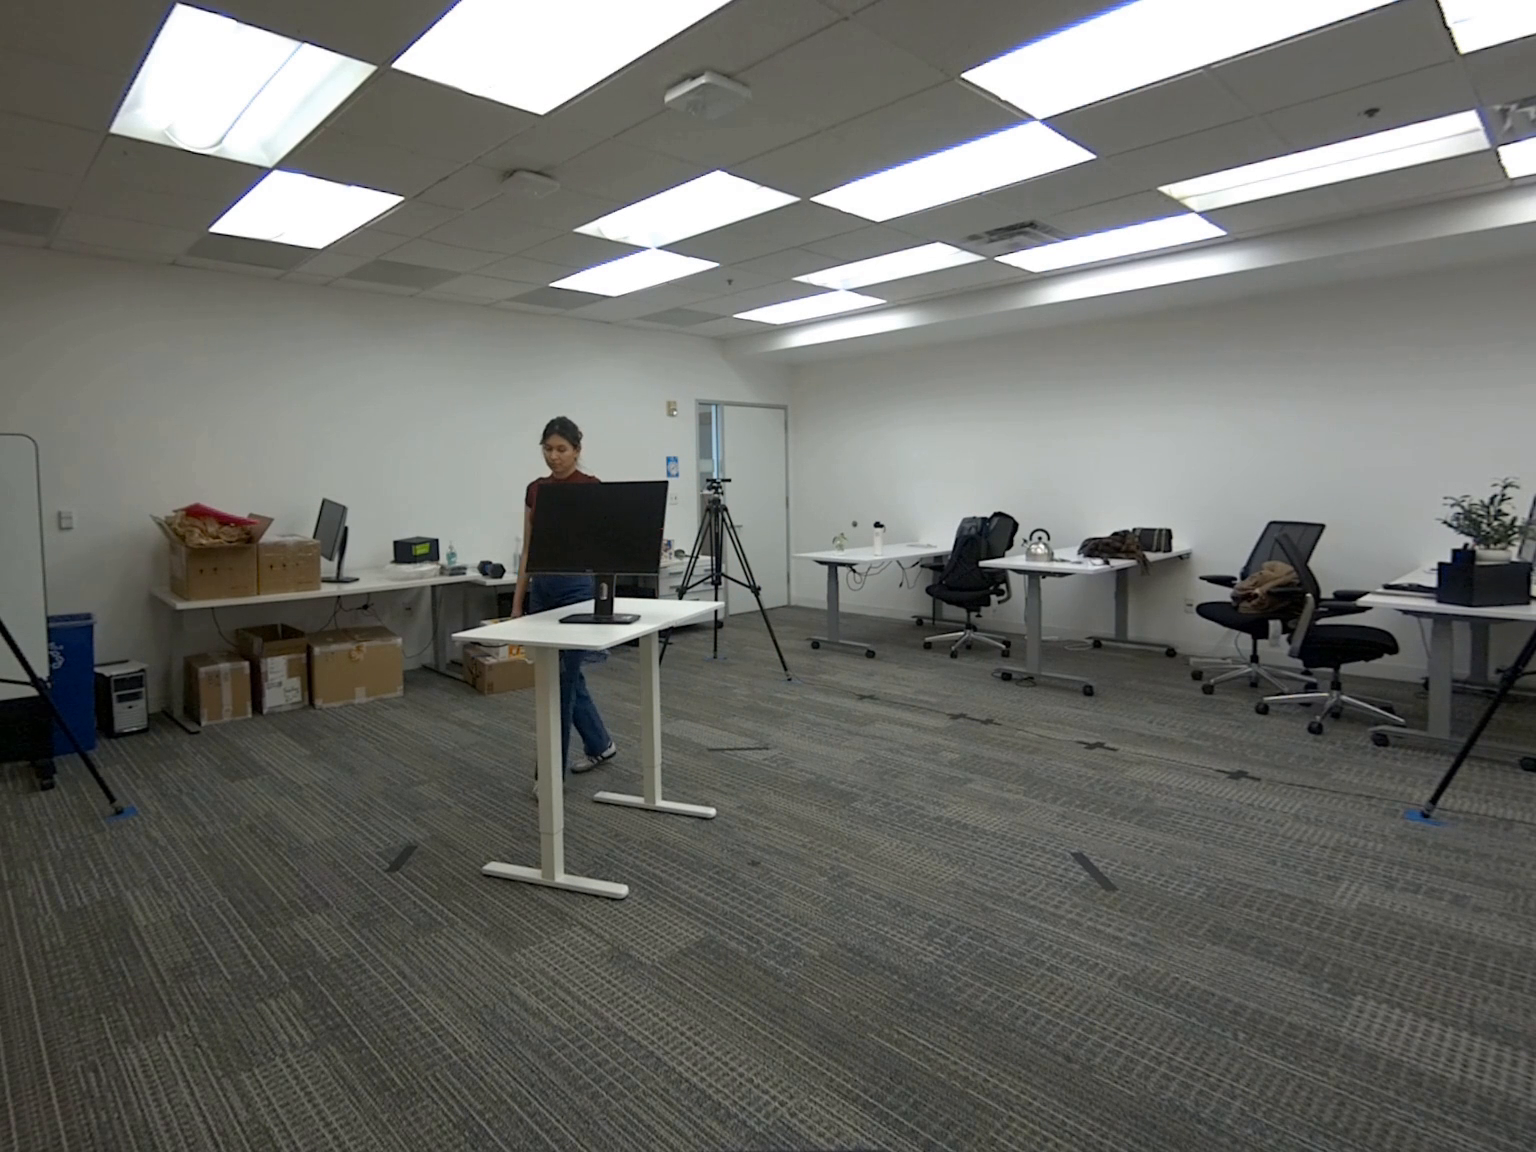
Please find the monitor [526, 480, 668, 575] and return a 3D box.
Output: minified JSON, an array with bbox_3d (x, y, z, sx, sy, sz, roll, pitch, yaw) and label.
[{"bbox_3d":[-0.623,-0.088,3.181,0.547,0.522,0.184,0,0,15],"label":"monitor"}]
